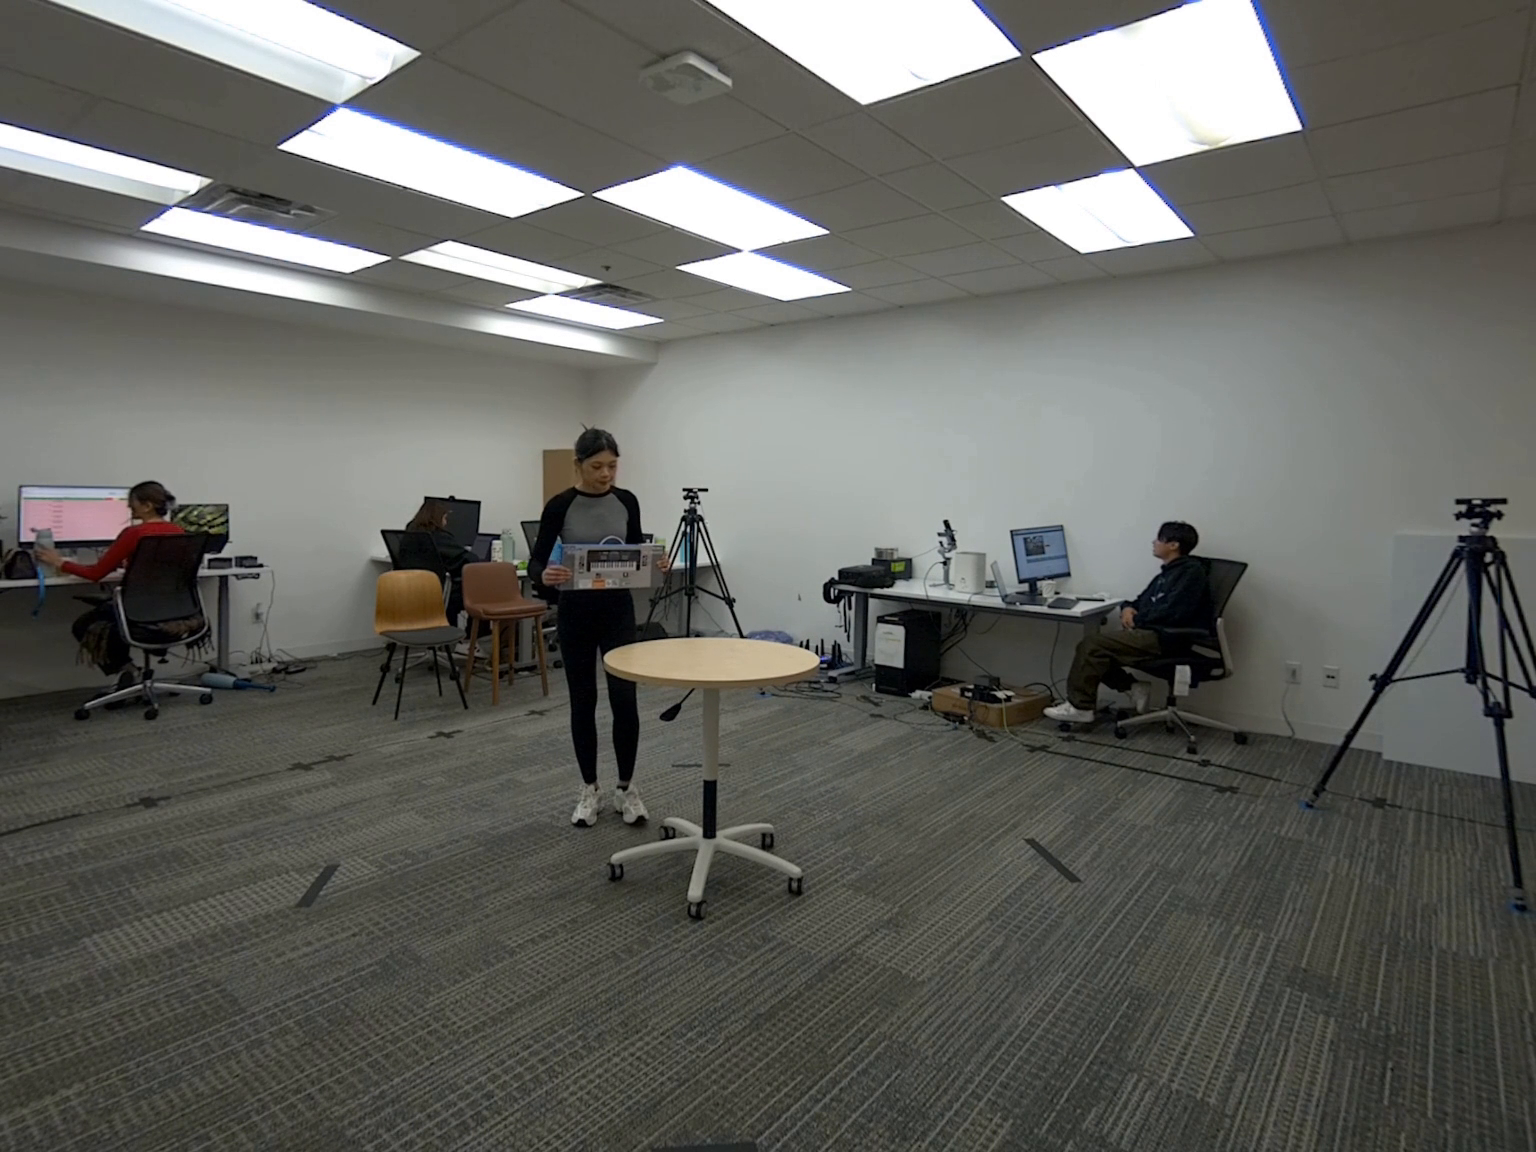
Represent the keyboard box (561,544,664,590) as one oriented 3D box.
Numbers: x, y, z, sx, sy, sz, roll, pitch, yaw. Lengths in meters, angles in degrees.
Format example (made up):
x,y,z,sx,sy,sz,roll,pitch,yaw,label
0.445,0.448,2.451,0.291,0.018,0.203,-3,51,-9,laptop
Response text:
x,y,z,sx,sy,sz,roll,pitch,yaw,label
-0.639,-0.038,3.361,0.425,0.175,0.061,-1,7,-29,keyboard box
